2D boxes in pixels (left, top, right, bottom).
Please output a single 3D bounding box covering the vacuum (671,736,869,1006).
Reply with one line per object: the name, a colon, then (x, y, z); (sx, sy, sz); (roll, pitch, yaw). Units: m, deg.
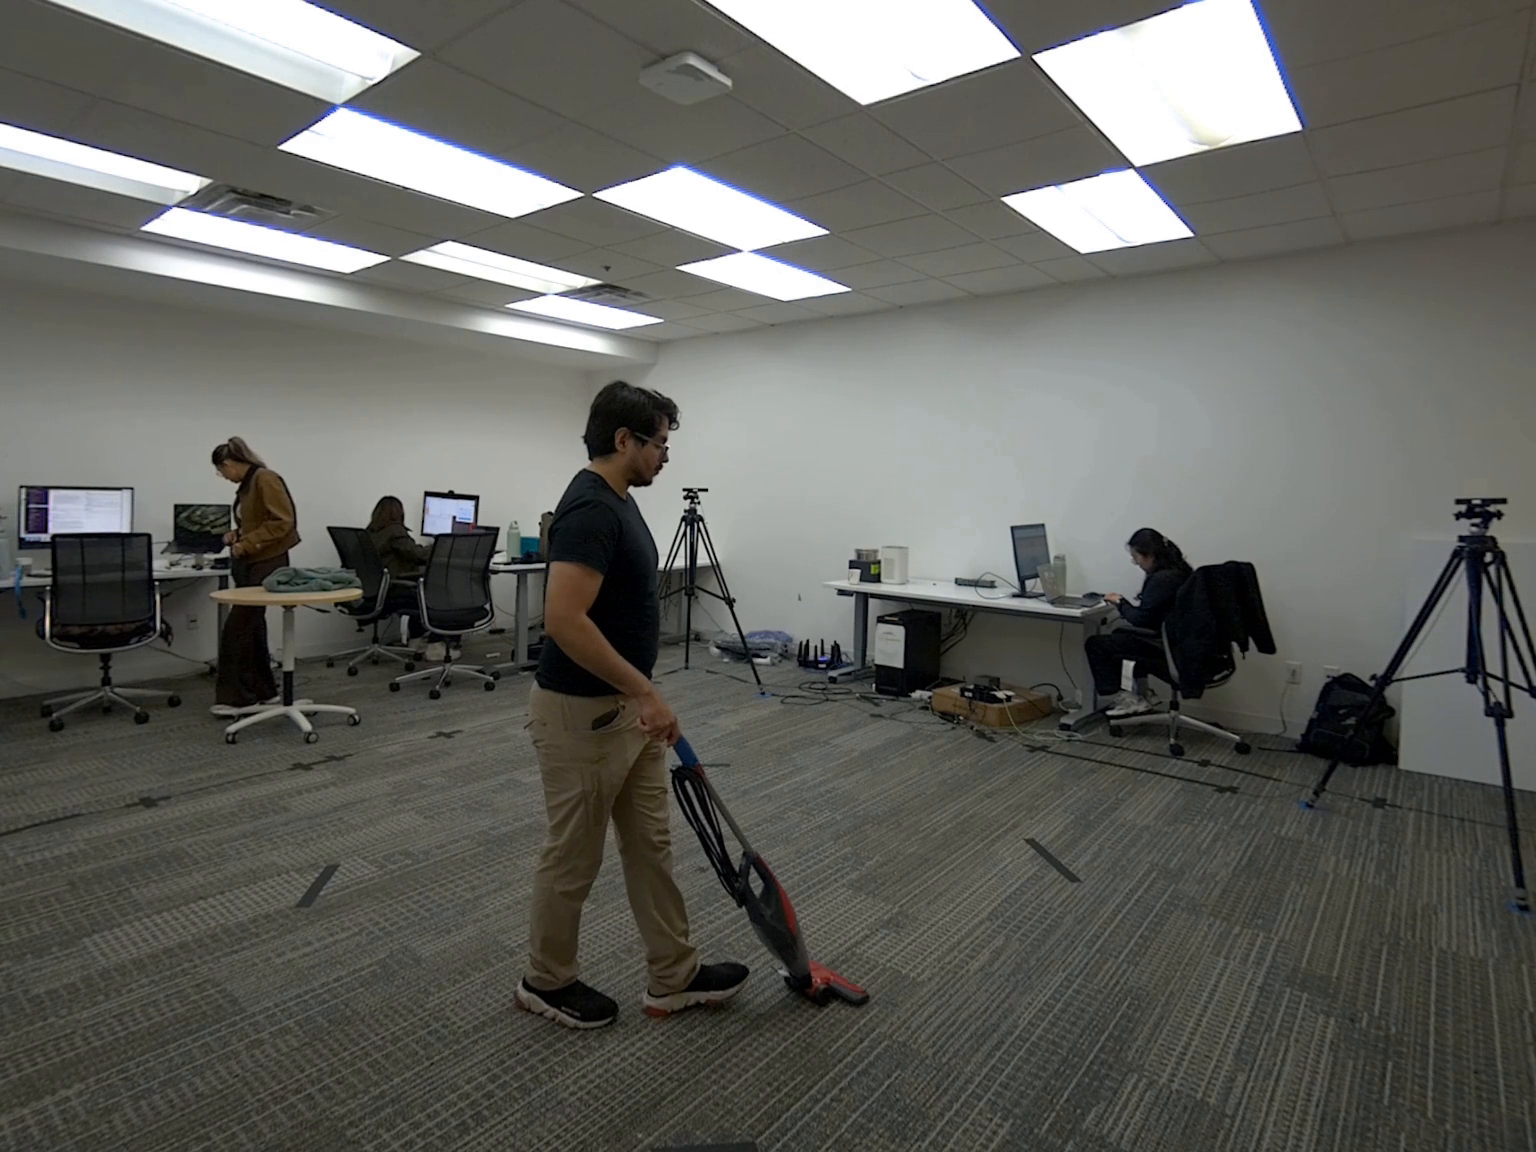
vacuum: (-0.066, 0.748, 2.158); (0.261, 1.017, 0.144); (1, 38, 45)
